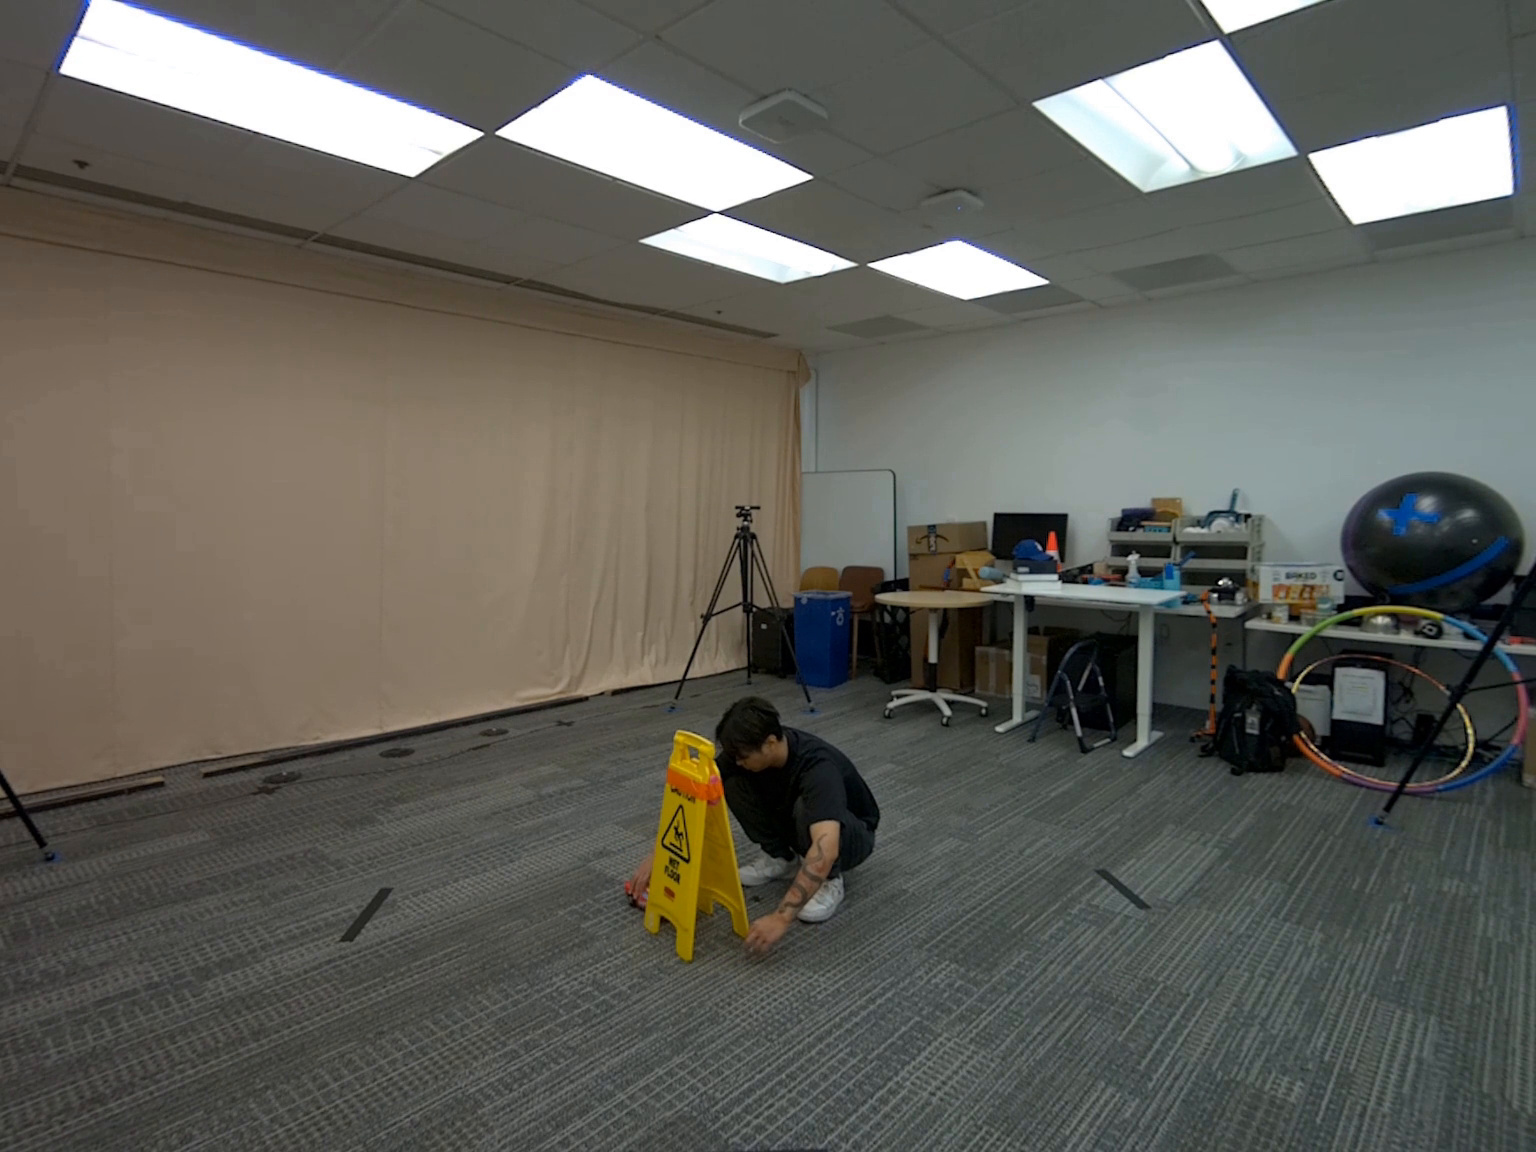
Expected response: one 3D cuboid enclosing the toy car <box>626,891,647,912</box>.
[{"bbox_3d":[-0.400,1.117,2.934,0.126,0.083,0.264,-3,14,-37],"label":"toy car"}]
